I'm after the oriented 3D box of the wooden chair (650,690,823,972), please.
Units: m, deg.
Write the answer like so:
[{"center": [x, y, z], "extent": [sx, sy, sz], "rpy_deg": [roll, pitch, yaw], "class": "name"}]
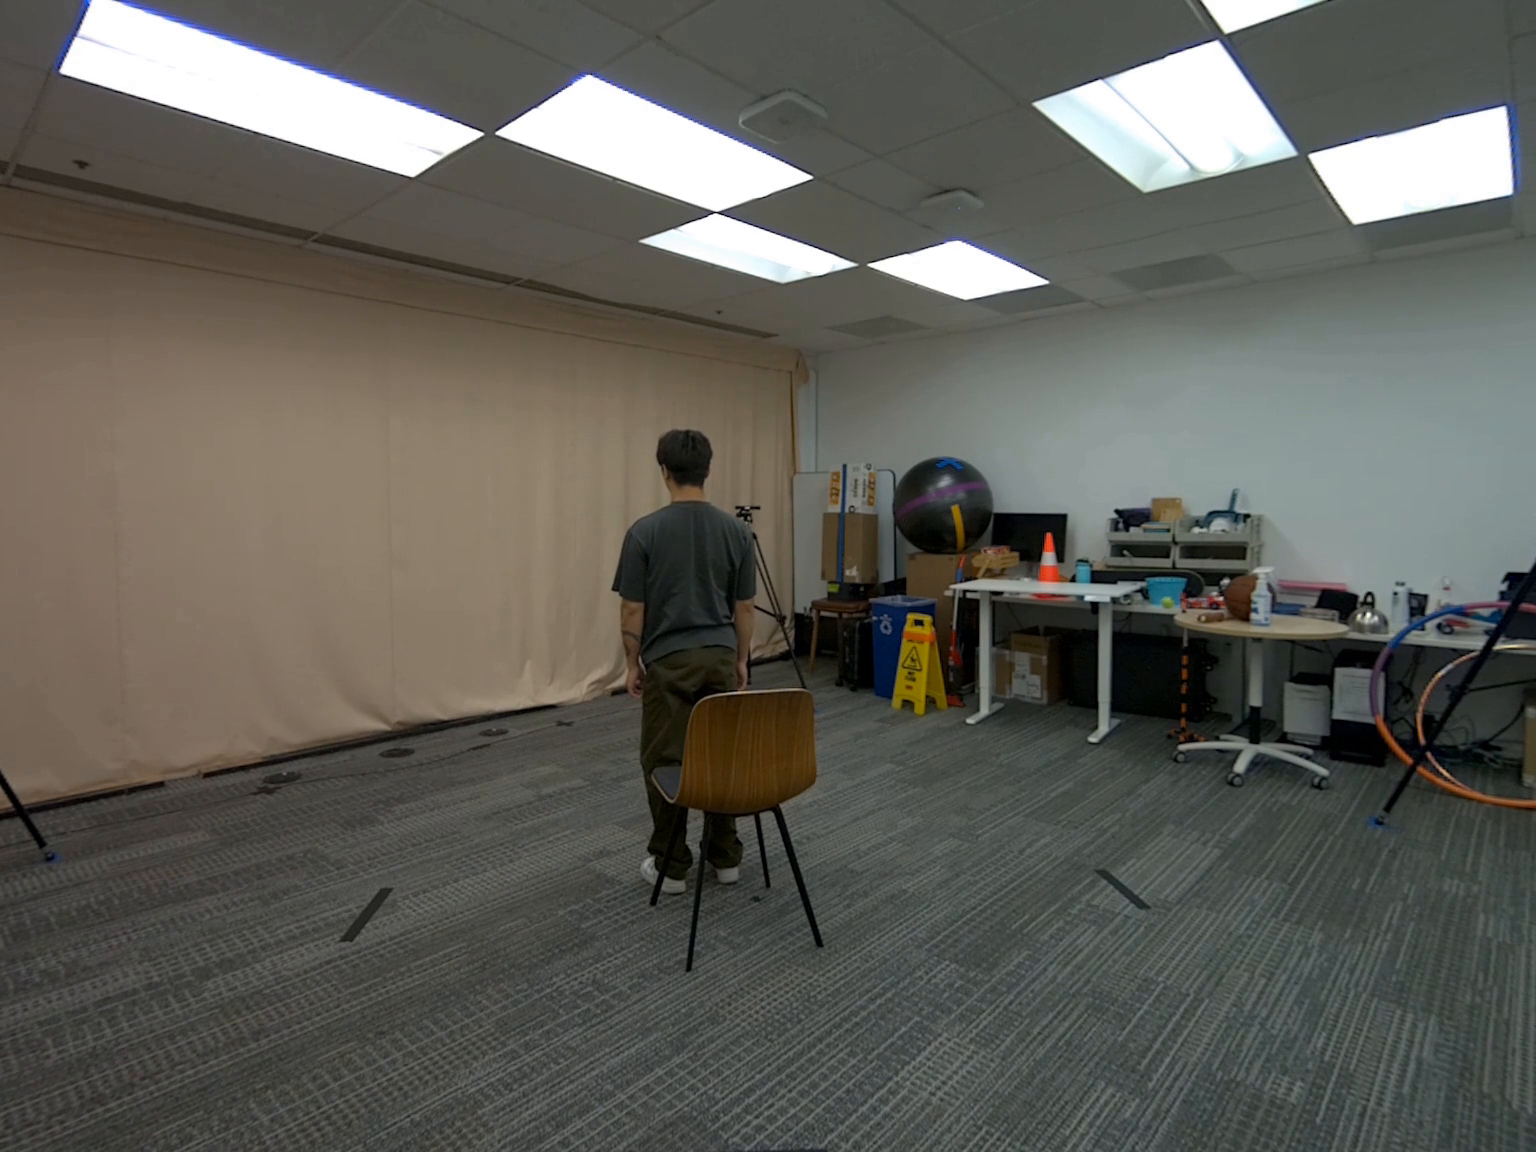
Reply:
[{"center": [-0.115, 0.735, 2.774], "extent": [0.469, 0.873, 0.536], "rpy_deg": [-2, 7, -20], "class": "wooden chair"}]
